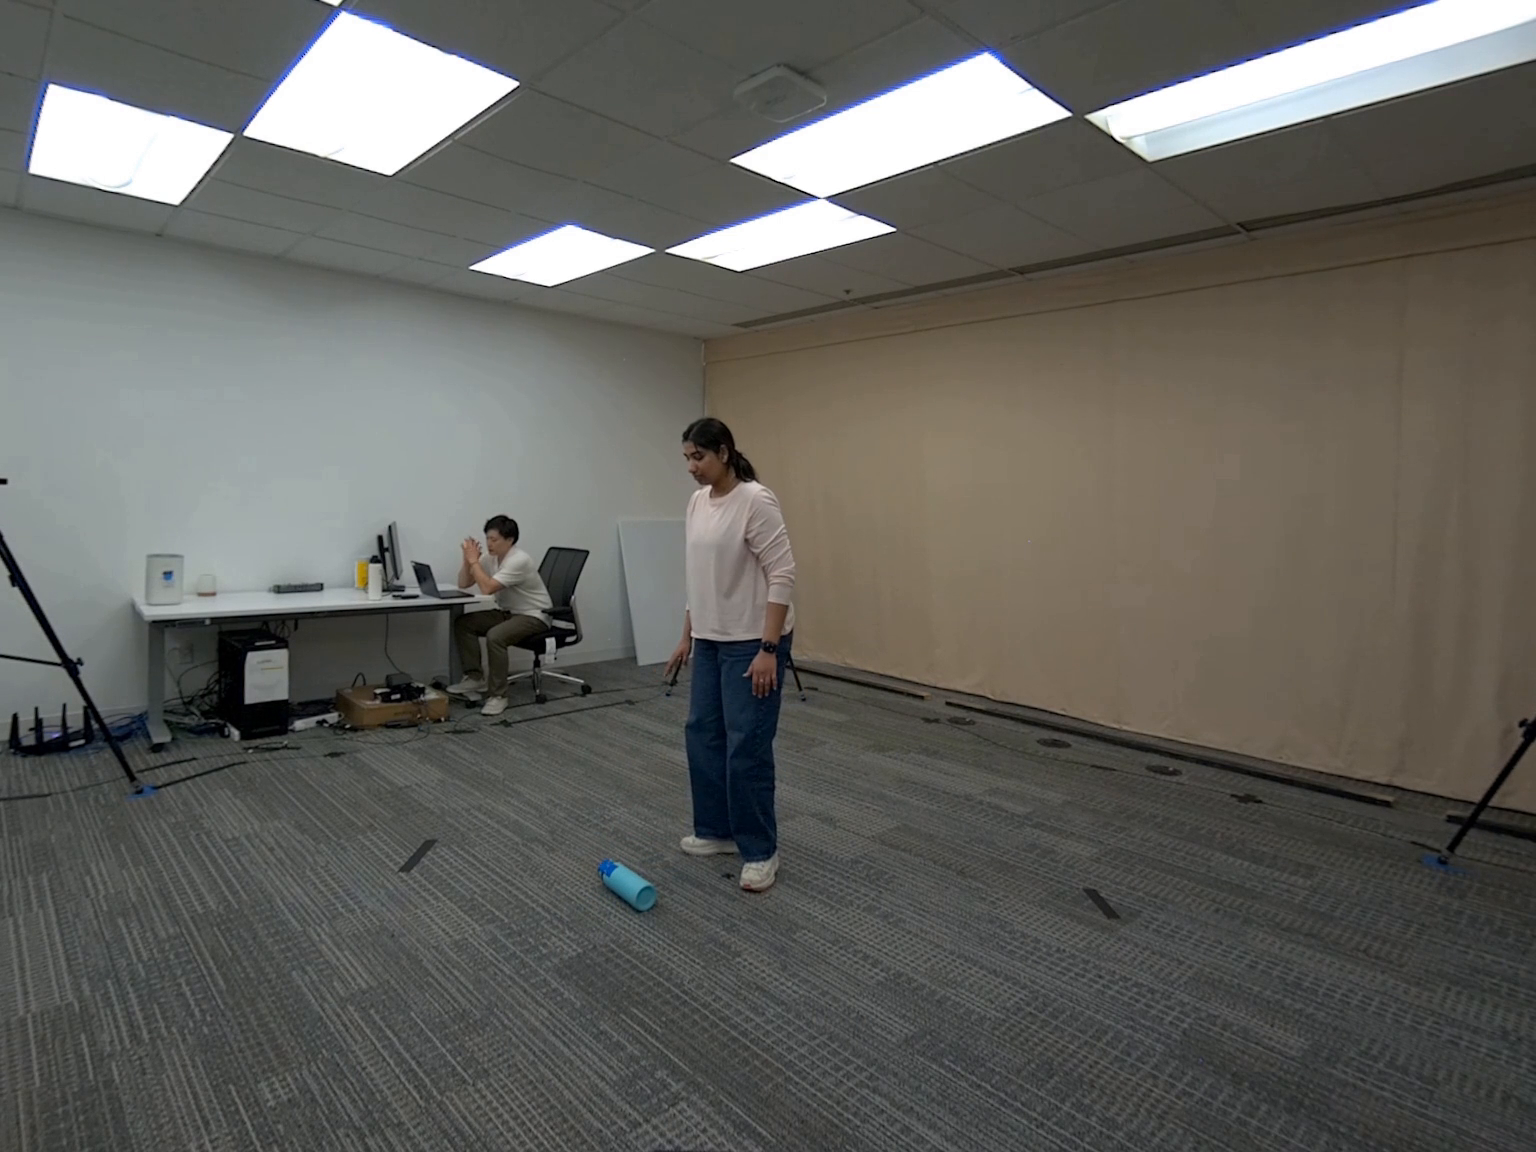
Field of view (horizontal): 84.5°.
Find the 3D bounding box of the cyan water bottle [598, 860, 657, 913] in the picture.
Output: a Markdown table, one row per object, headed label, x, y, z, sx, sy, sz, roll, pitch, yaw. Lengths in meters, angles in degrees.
| label | x | y | z | sx | sy | sz | roll | pitch | yaw |
| --- | --- | --- | --- | --- | --- | --- | --- | --- | --- |
| cyan water bottle | -0.505 | 1.068 | 2.929 | 0.090 | 0.092 | 0.291 | -2 | 6 | -39 |
